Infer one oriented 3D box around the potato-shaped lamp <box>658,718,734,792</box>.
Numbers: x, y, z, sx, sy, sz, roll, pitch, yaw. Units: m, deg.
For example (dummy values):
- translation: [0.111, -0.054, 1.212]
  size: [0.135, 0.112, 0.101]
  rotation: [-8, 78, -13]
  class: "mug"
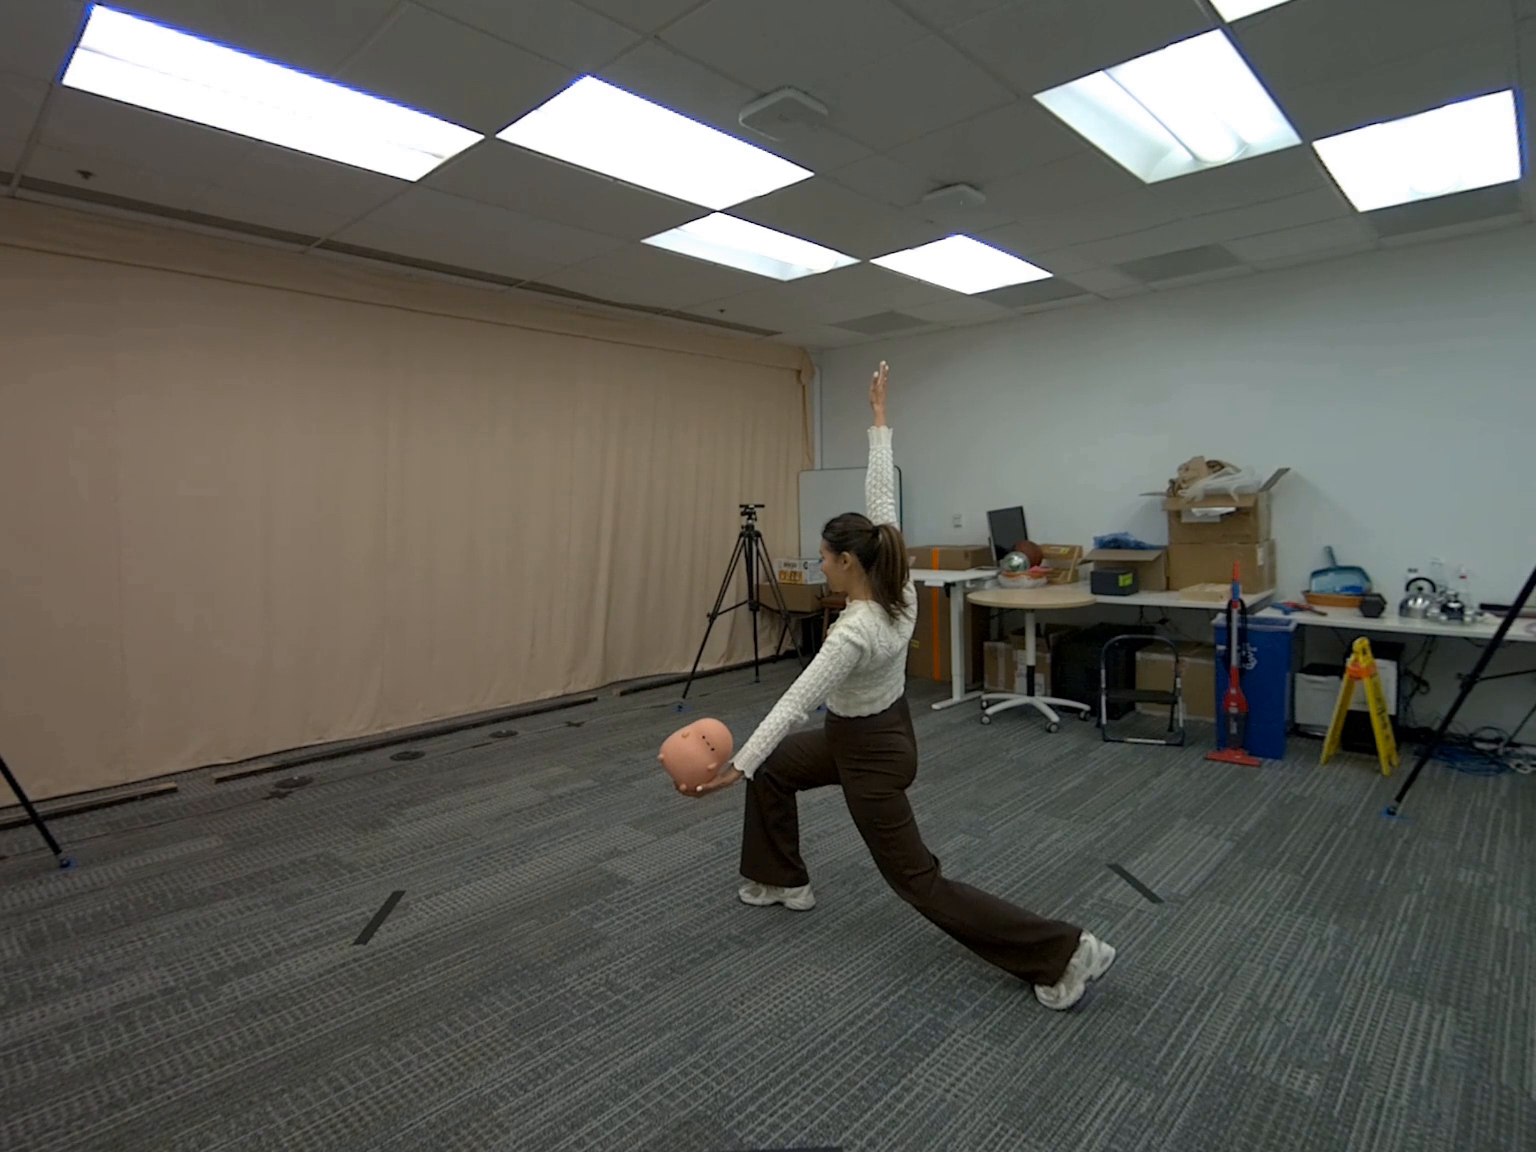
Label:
- translation: [-0.188, 0.493, 2.338]
  size: [0.198, 0.166, 0.169]
  rotation: [-38, -8, 2]
  class: "potato-shaped lamp"
